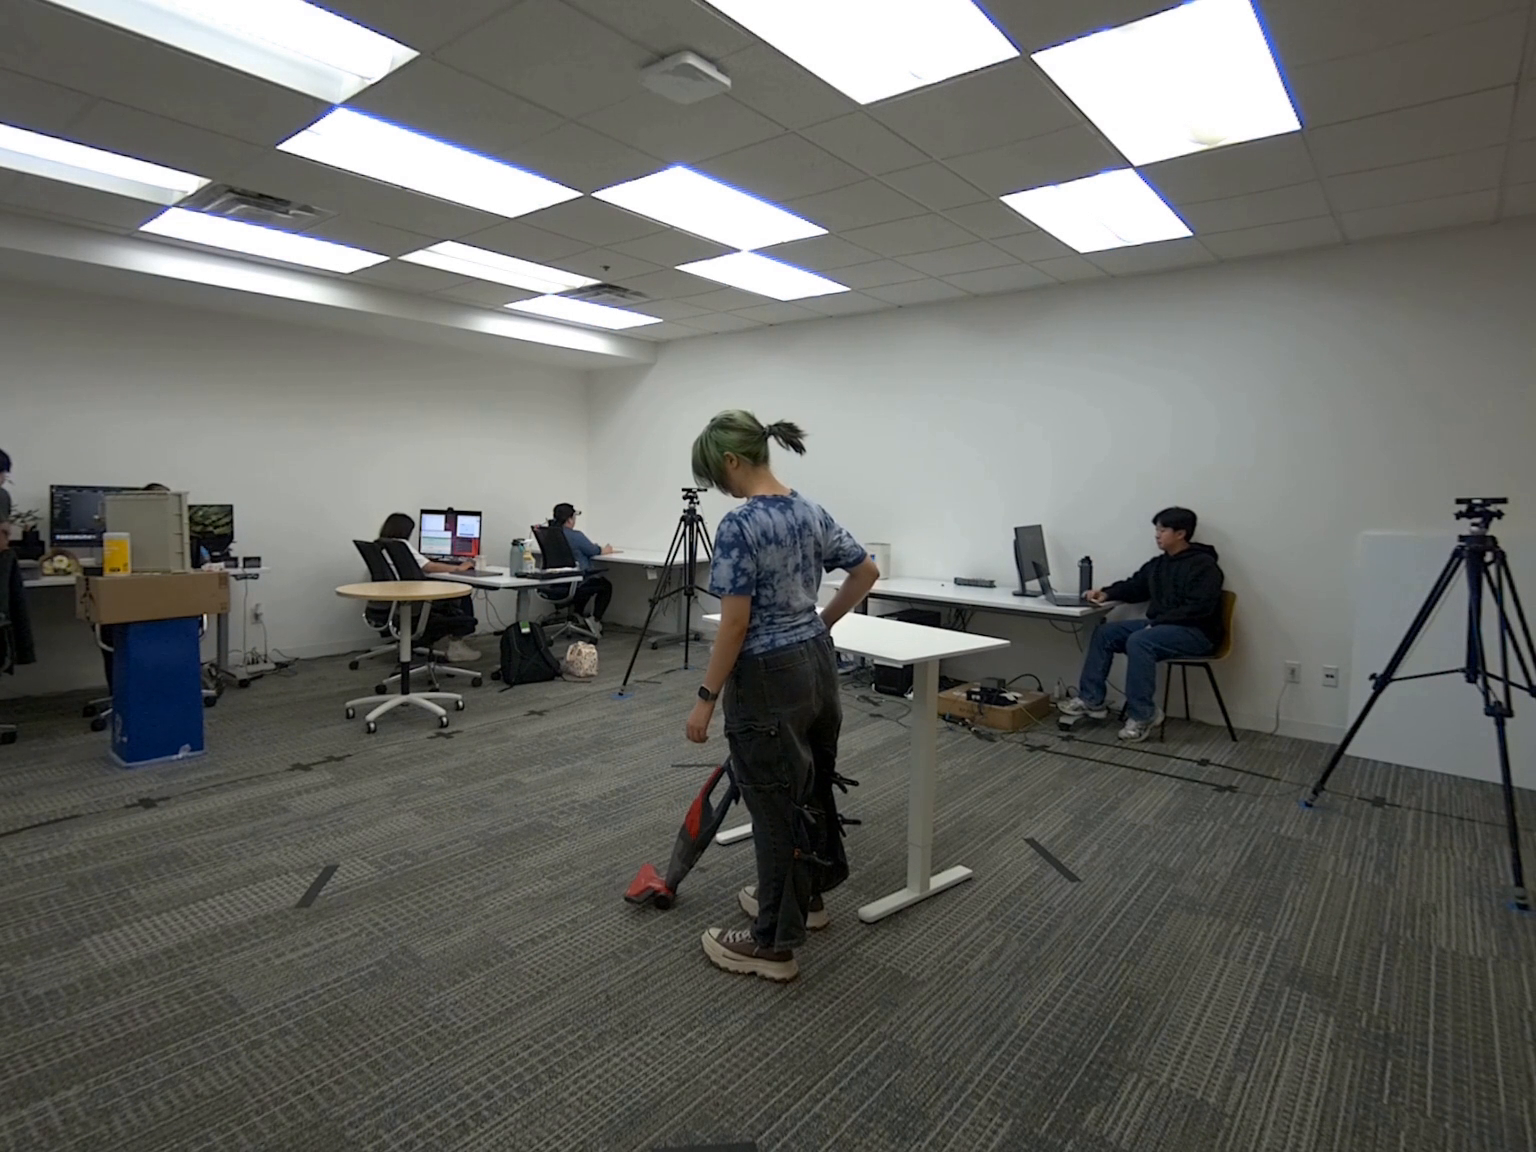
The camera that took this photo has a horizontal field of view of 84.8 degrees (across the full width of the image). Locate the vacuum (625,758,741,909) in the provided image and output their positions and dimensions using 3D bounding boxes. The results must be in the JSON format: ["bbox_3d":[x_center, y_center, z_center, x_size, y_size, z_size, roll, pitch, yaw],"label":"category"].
[{"bbox_3d":[-0.132,0.645,2.801,0.145,1.047,0.251,34,9,4],"label":"vacuum"}]
